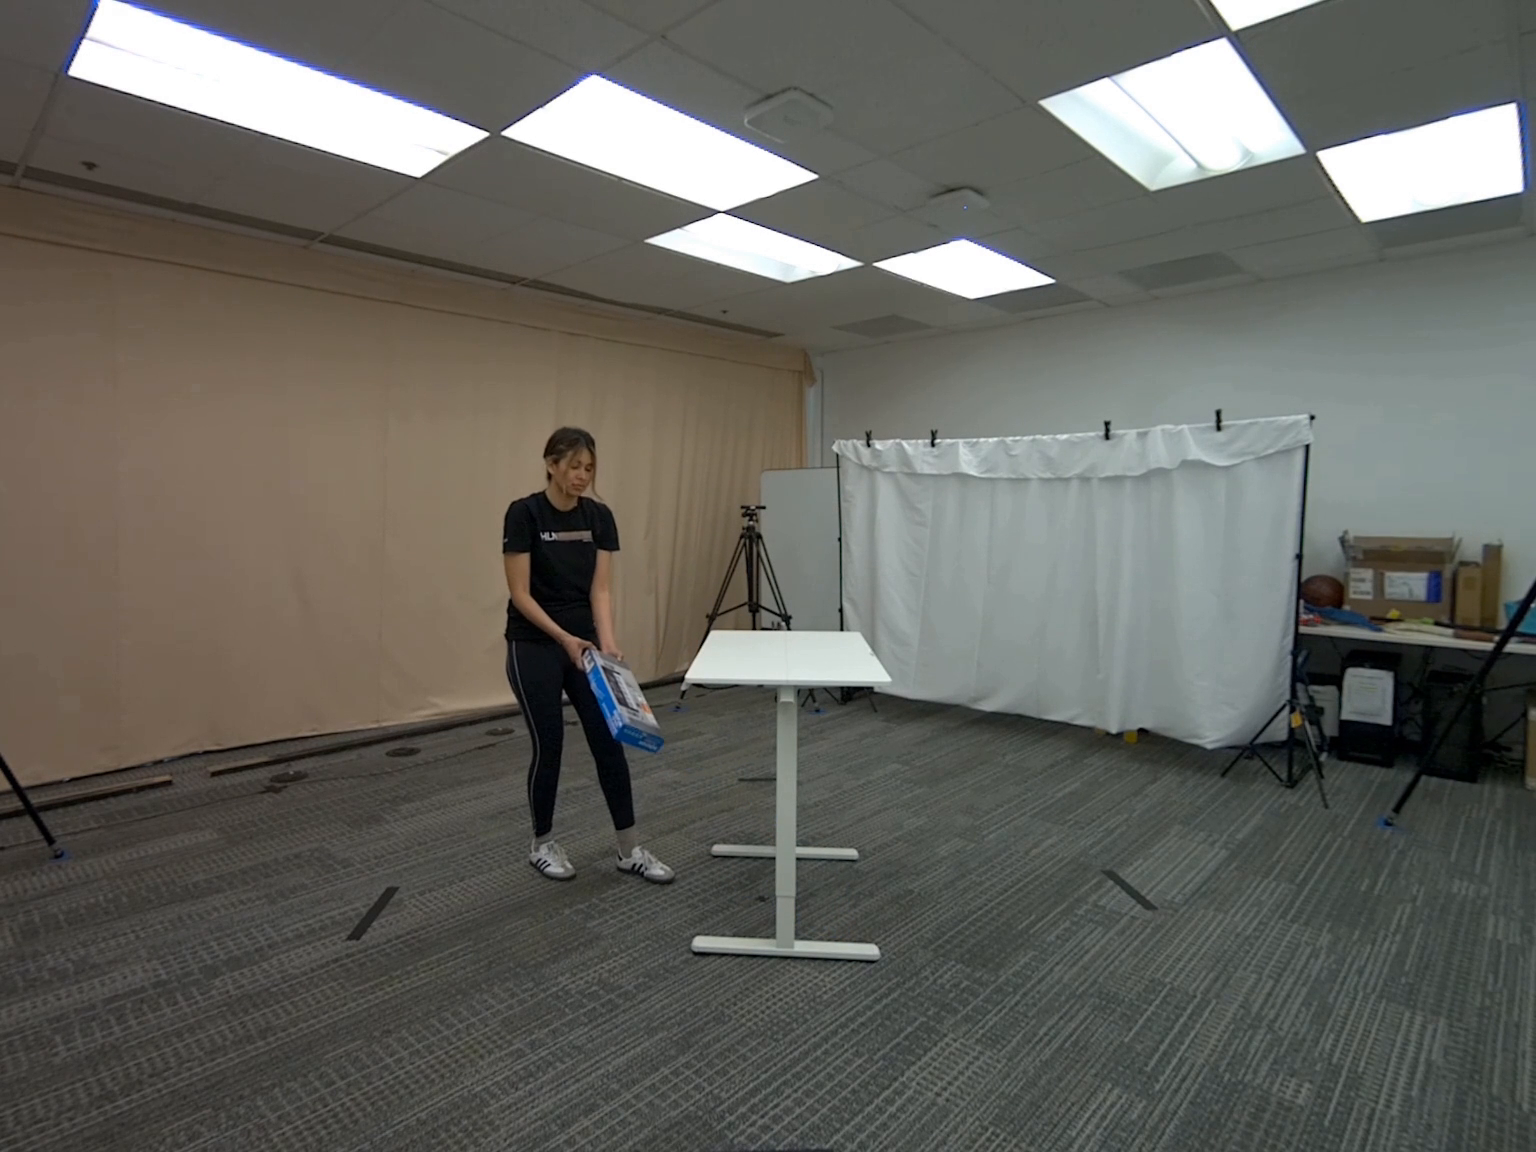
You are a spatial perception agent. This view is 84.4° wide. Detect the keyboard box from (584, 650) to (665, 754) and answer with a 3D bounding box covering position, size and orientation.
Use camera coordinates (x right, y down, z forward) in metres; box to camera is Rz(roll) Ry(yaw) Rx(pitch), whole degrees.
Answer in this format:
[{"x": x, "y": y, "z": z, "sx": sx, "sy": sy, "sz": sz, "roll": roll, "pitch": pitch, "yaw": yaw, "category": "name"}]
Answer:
[{"x": -0.478, "y": 0.404, "z": 2.767, "sx": 0.170, "sy": 0.059, "sz": 0.452, "roll": 29, "pitch": 12, "yaw": -37, "category": "keyboard box"}]
